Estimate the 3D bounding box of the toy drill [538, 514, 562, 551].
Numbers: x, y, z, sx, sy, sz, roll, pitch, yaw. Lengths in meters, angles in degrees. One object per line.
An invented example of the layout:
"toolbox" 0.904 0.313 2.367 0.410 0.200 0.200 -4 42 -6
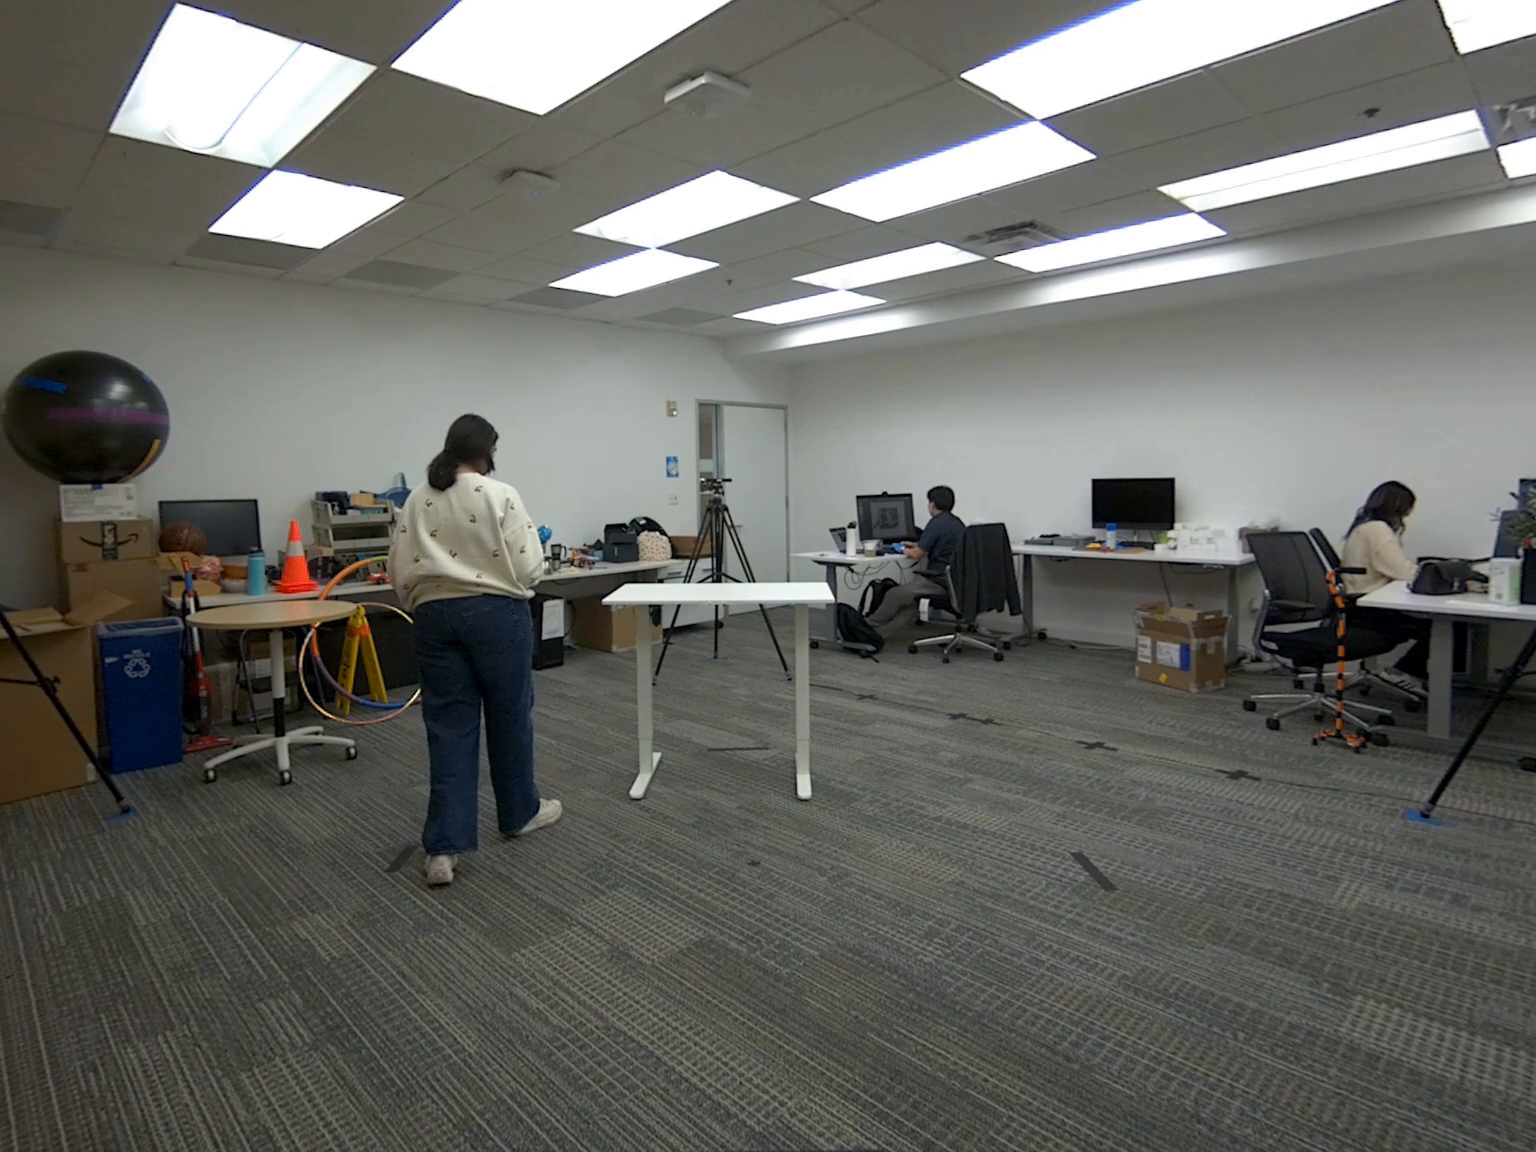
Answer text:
"toy drill" -0.920 -0.154 3.474 0.060 0.146 0.173 41 13 -18
